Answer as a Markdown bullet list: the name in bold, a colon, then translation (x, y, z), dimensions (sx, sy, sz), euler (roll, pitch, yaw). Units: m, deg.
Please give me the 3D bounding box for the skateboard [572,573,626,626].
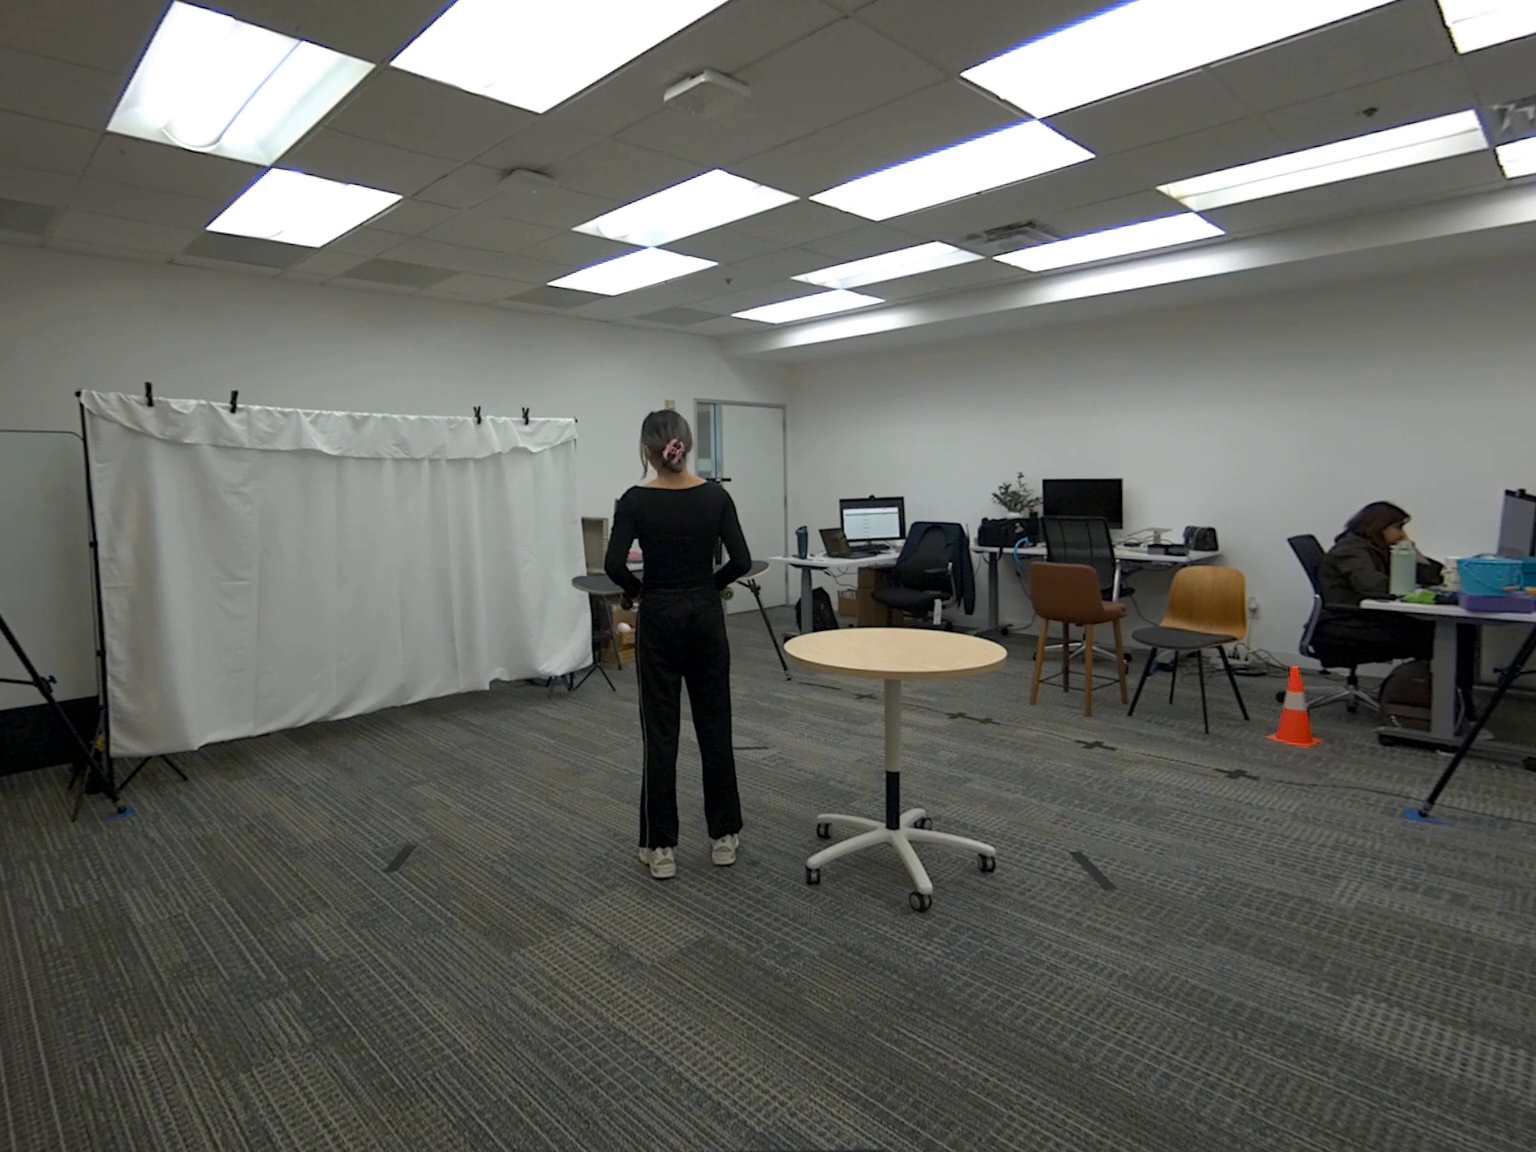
- **skateboard**: translation (-0.367, 0.038, 3.355), dimensions (0.774, 0.109, 0.199), euler (-6, 18, -17)
